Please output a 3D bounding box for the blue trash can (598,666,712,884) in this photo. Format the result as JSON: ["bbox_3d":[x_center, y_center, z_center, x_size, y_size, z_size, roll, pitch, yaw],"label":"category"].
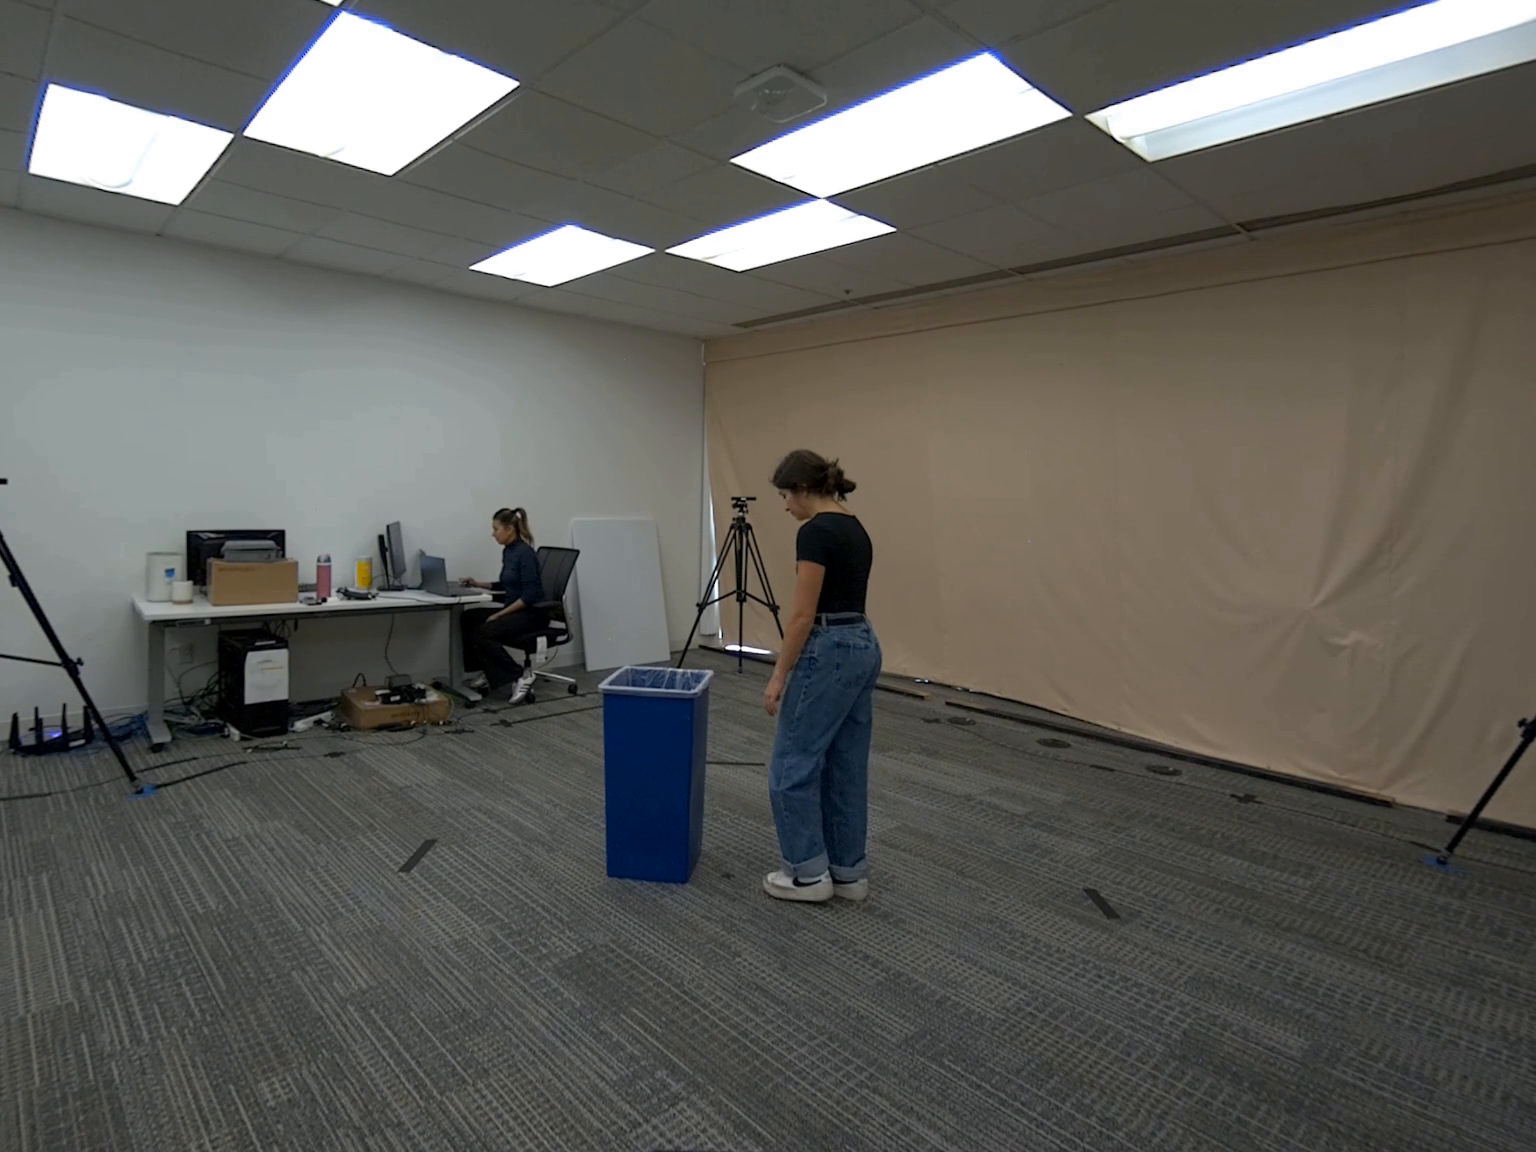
[{"bbox_3d":[-0.422,0.738,3.169,0.381,0.712,0.372,1,3,8],"label":"blue trash can"}]
